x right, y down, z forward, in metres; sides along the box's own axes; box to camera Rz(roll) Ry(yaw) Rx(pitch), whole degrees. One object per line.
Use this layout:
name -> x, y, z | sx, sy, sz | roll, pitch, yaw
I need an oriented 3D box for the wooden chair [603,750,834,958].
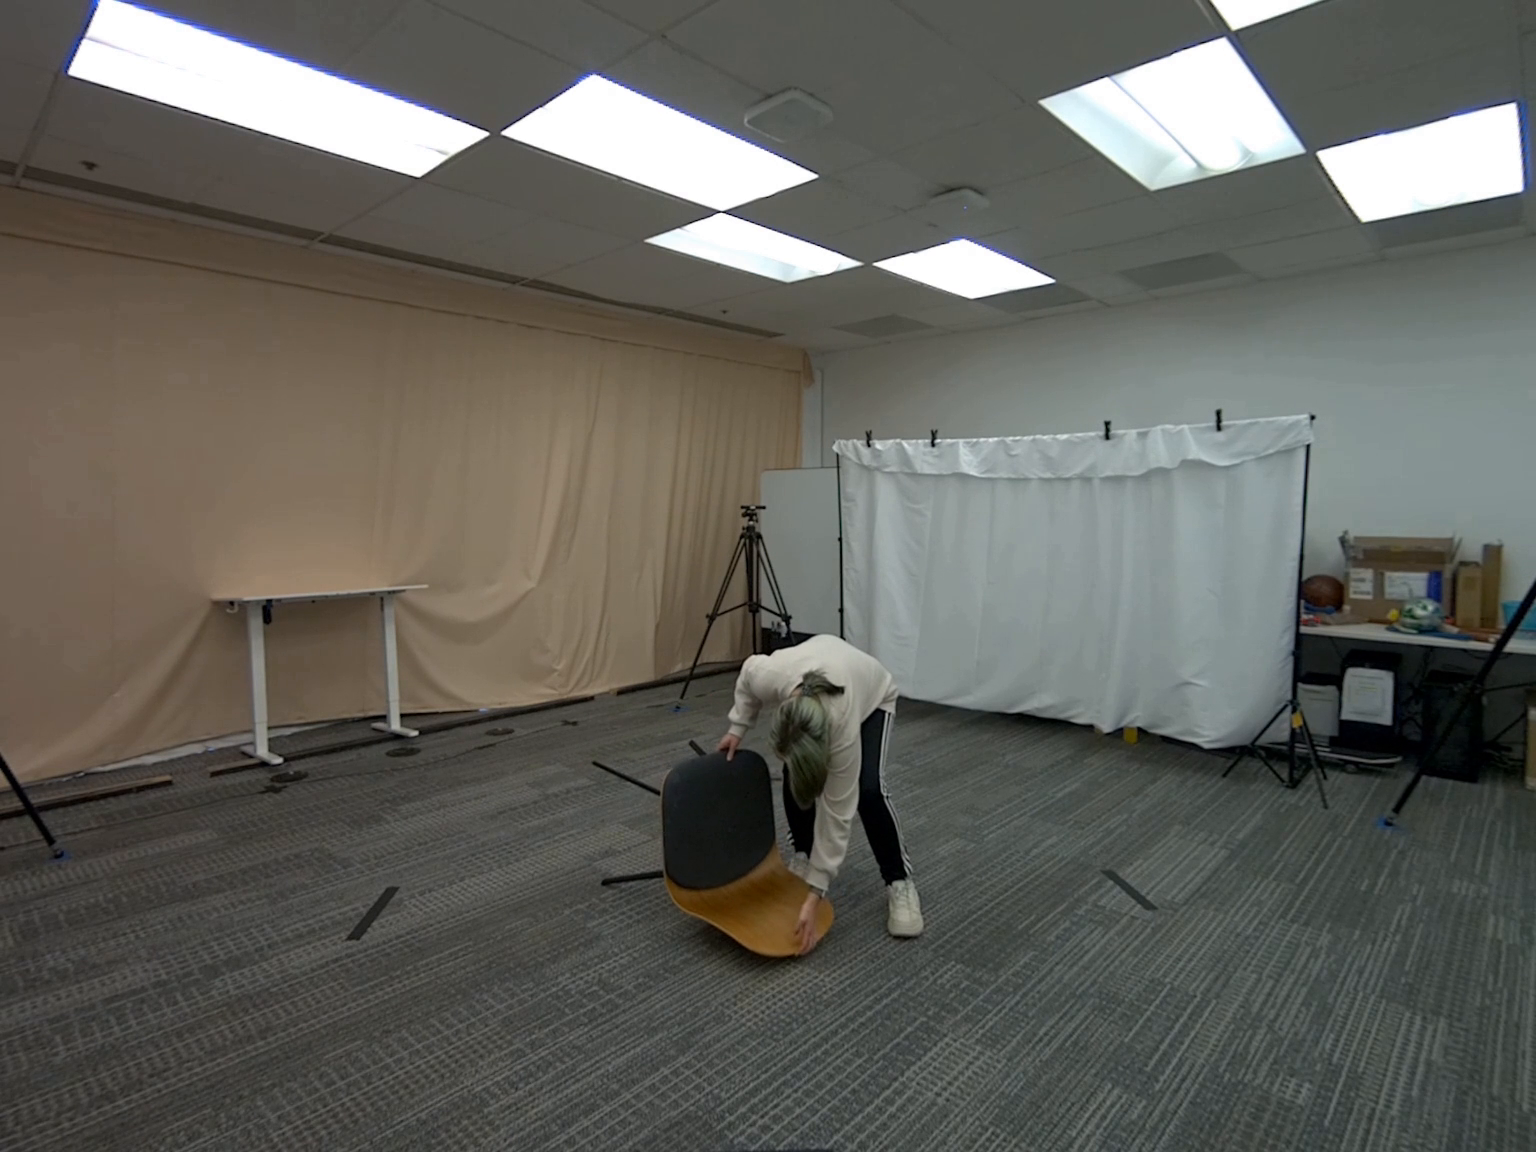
wooden chair -> -0.193, 0.879, 2.905 | 0.464, 0.522, 0.906 | -4, 5, -39
